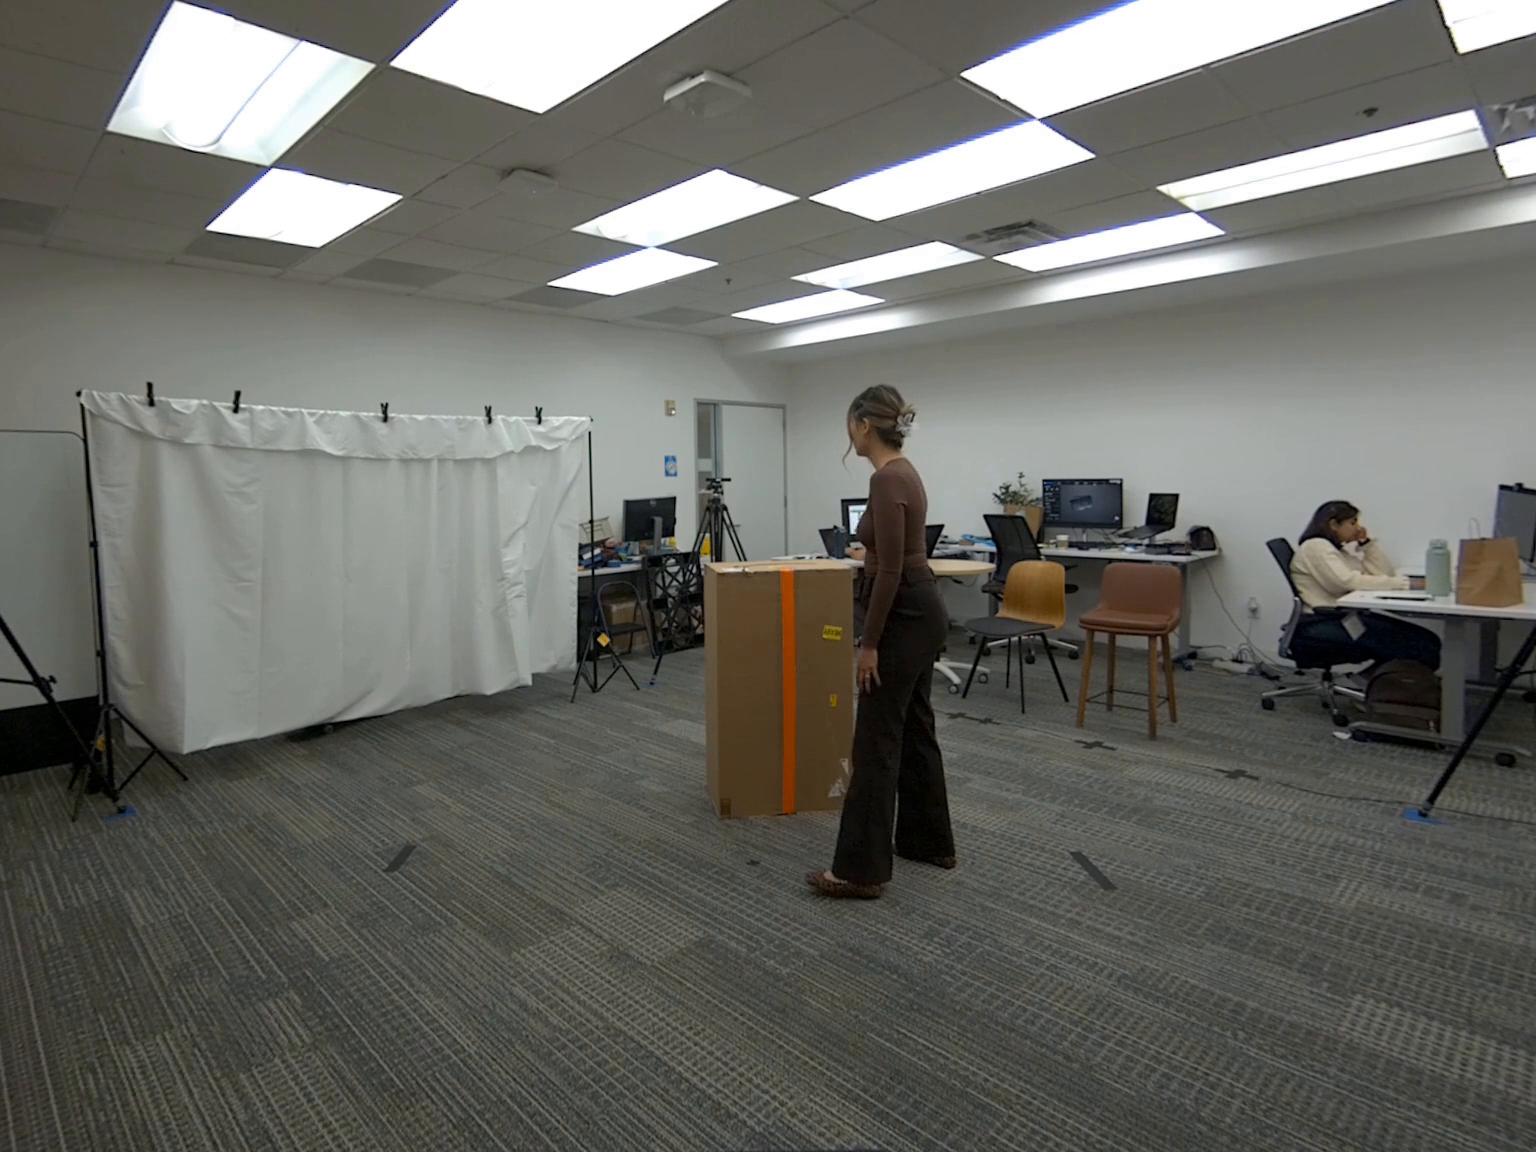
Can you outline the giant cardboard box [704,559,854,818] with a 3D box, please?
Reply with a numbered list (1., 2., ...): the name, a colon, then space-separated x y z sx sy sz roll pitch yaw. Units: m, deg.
1. giant cardboard box: 0.035 0.454 3.726 0.579 1.023 0.452 -1 4 -9
